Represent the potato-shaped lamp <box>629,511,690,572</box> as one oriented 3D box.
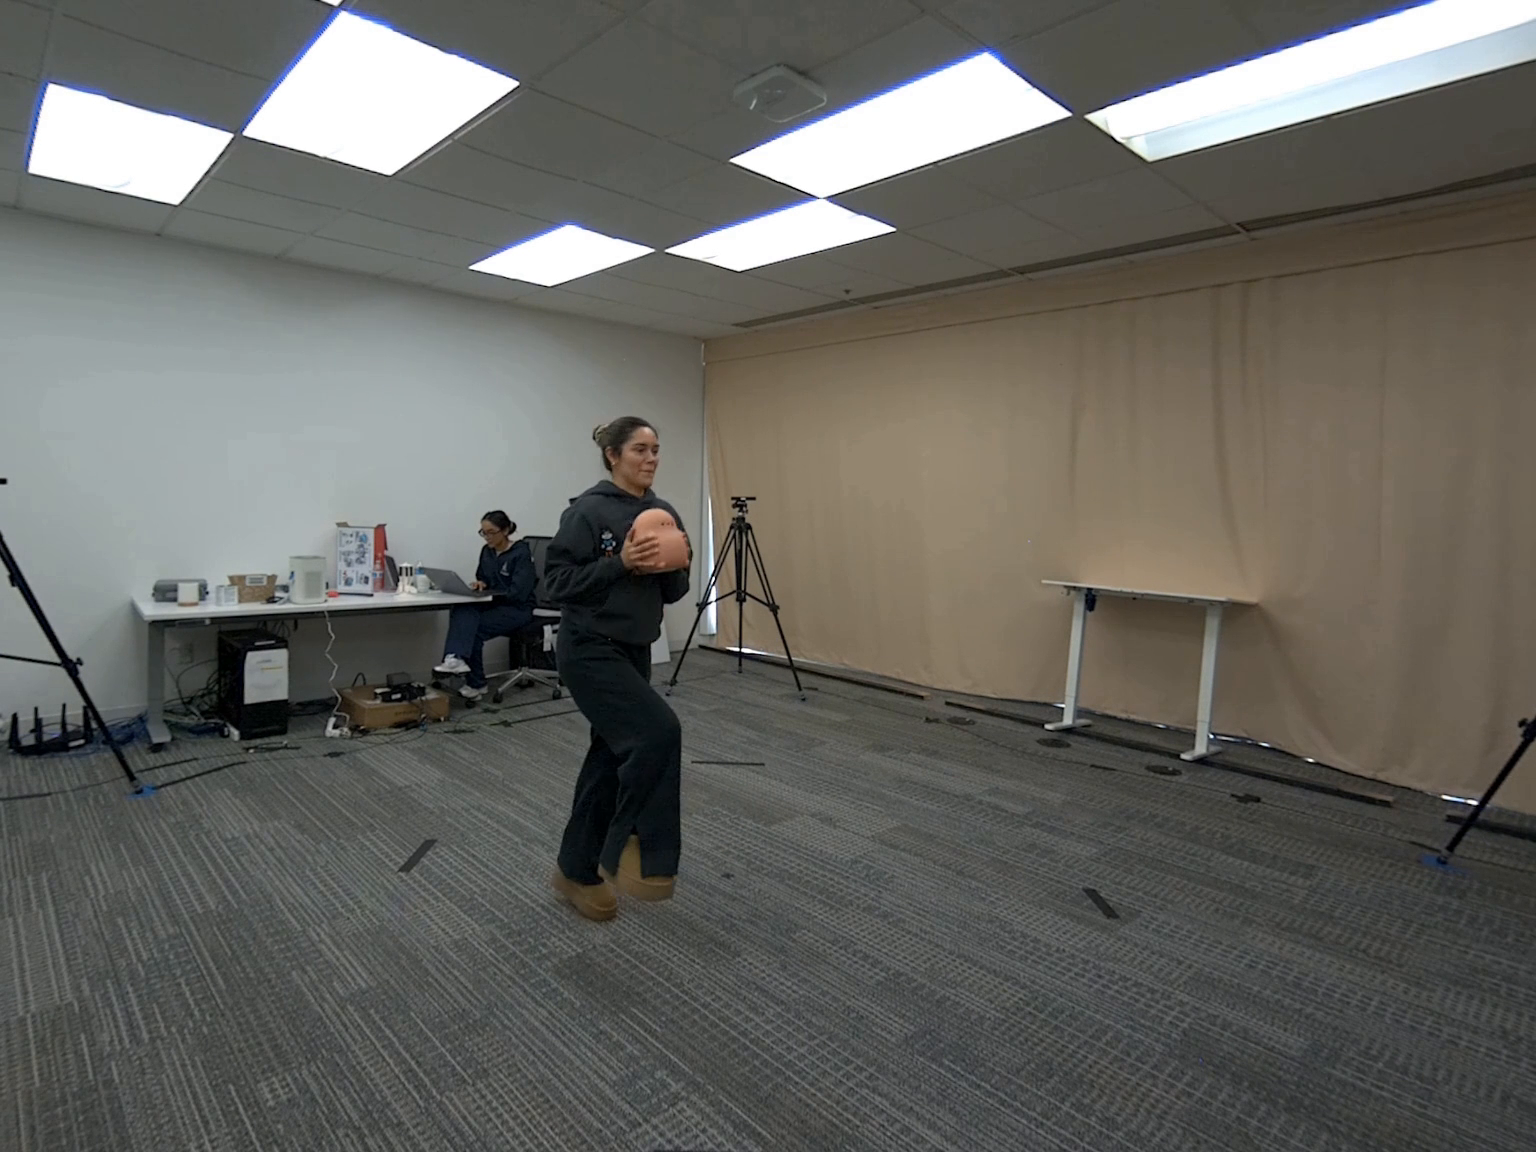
[{"bbox_3d":[-0.356,-0.064,2.609,0.175,0.198,0.161,-8,-3,45],"label":"potato-shaped lamp"}]
